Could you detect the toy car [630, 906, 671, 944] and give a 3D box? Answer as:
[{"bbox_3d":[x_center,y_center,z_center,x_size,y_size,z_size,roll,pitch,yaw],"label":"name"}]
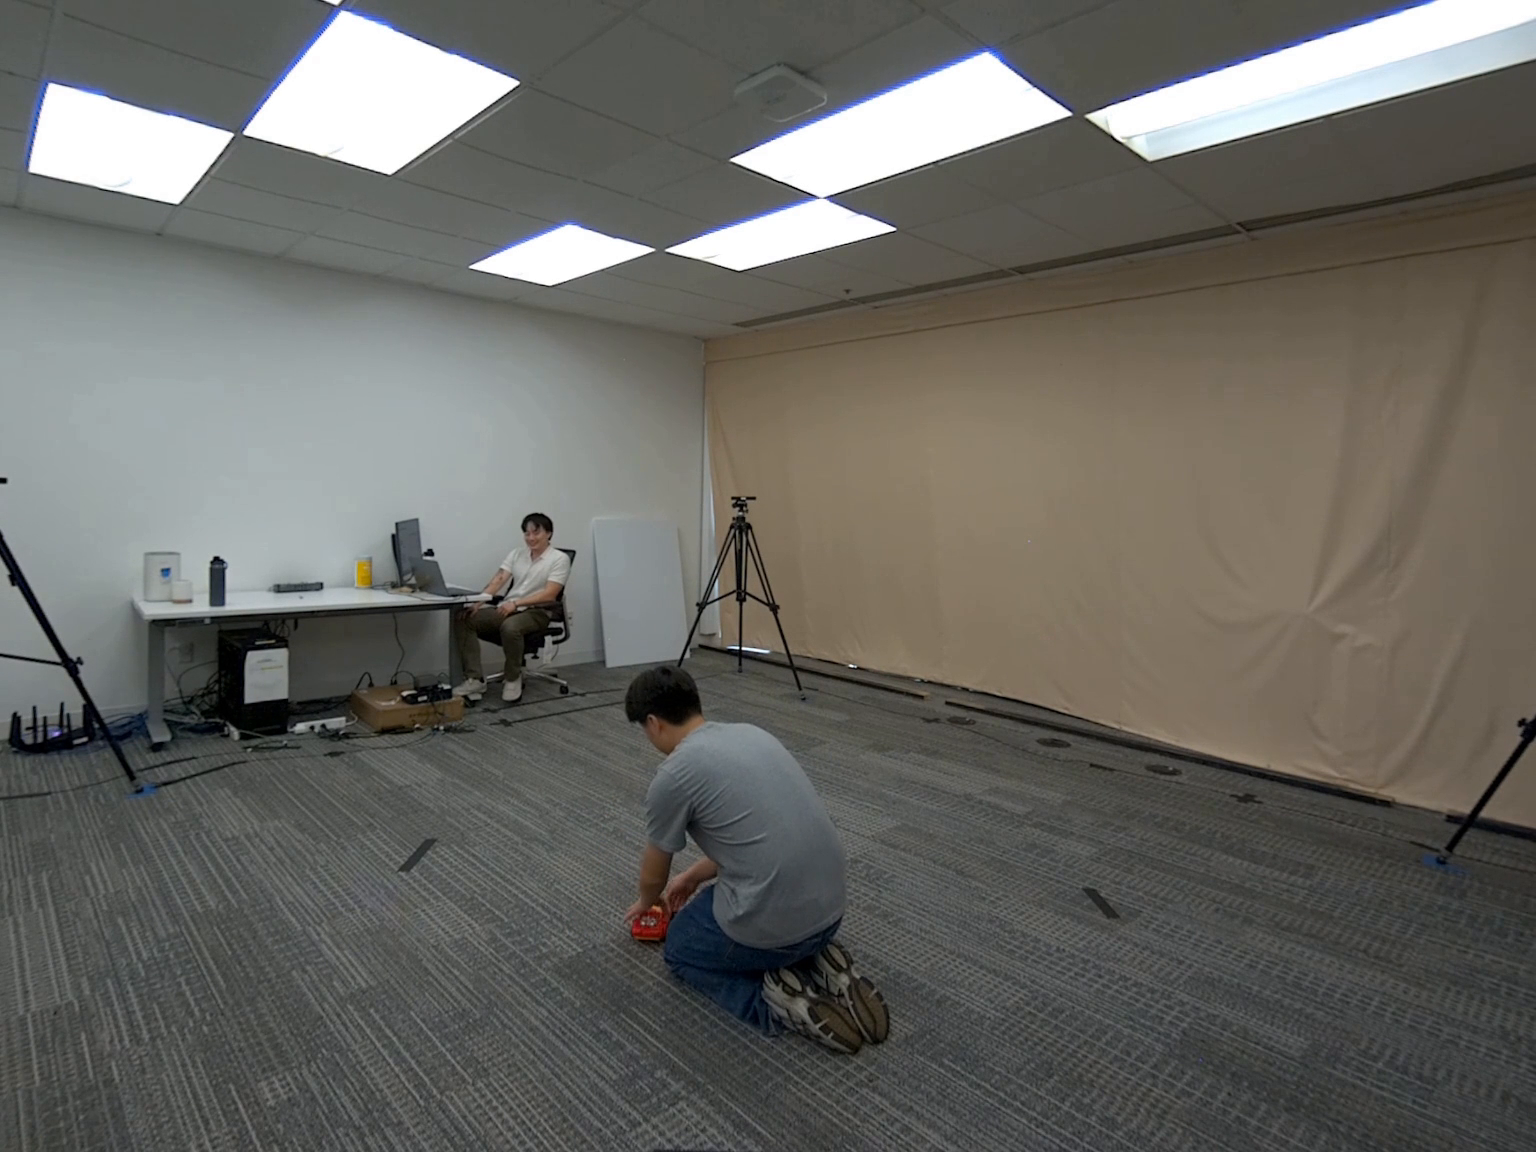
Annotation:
[{"bbox_3d":[-0.376,1.107,2.701,0.131,0.083,0.252,1,-6,3],"label":"toy car"}]
